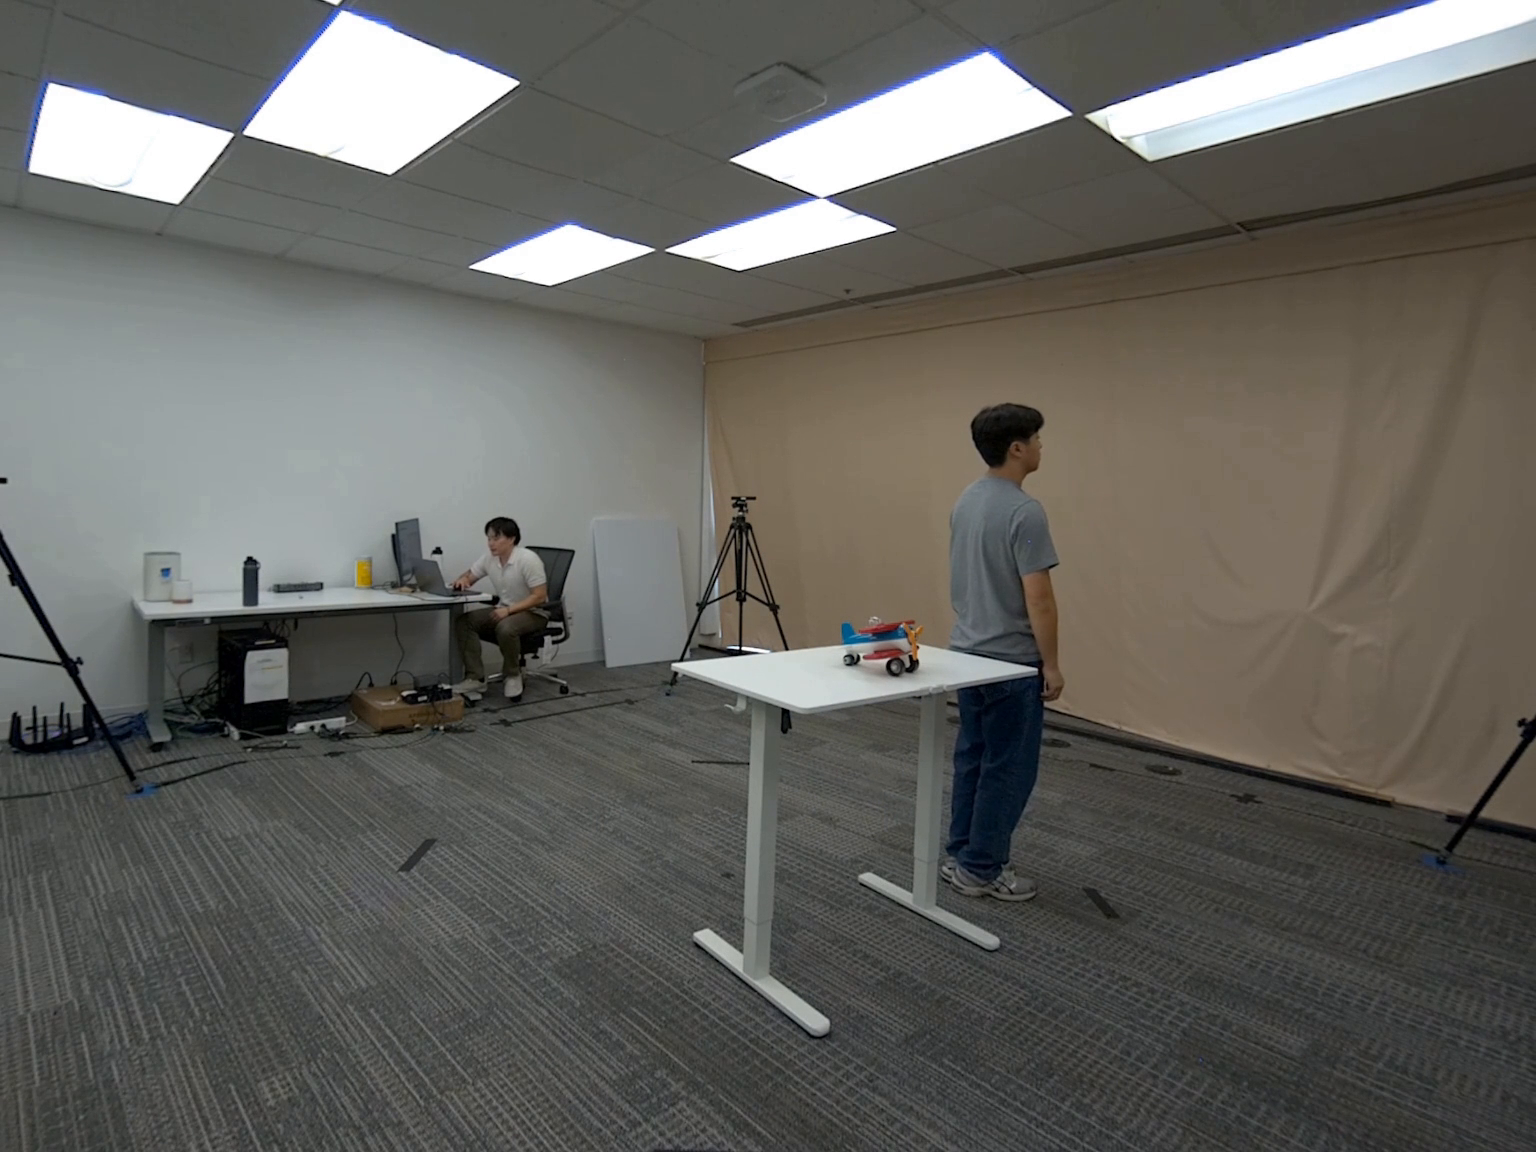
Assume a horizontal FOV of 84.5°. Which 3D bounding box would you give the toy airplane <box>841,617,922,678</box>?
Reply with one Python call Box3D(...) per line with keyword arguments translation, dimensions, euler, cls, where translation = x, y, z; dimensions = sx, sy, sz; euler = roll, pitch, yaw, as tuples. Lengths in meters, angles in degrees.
Box3D(translation=(0.324, 0.211, 2.537), dimensions=(0.262, 0.156, 0.249), euler=(4, 4, 11), cls="toy airplane")
